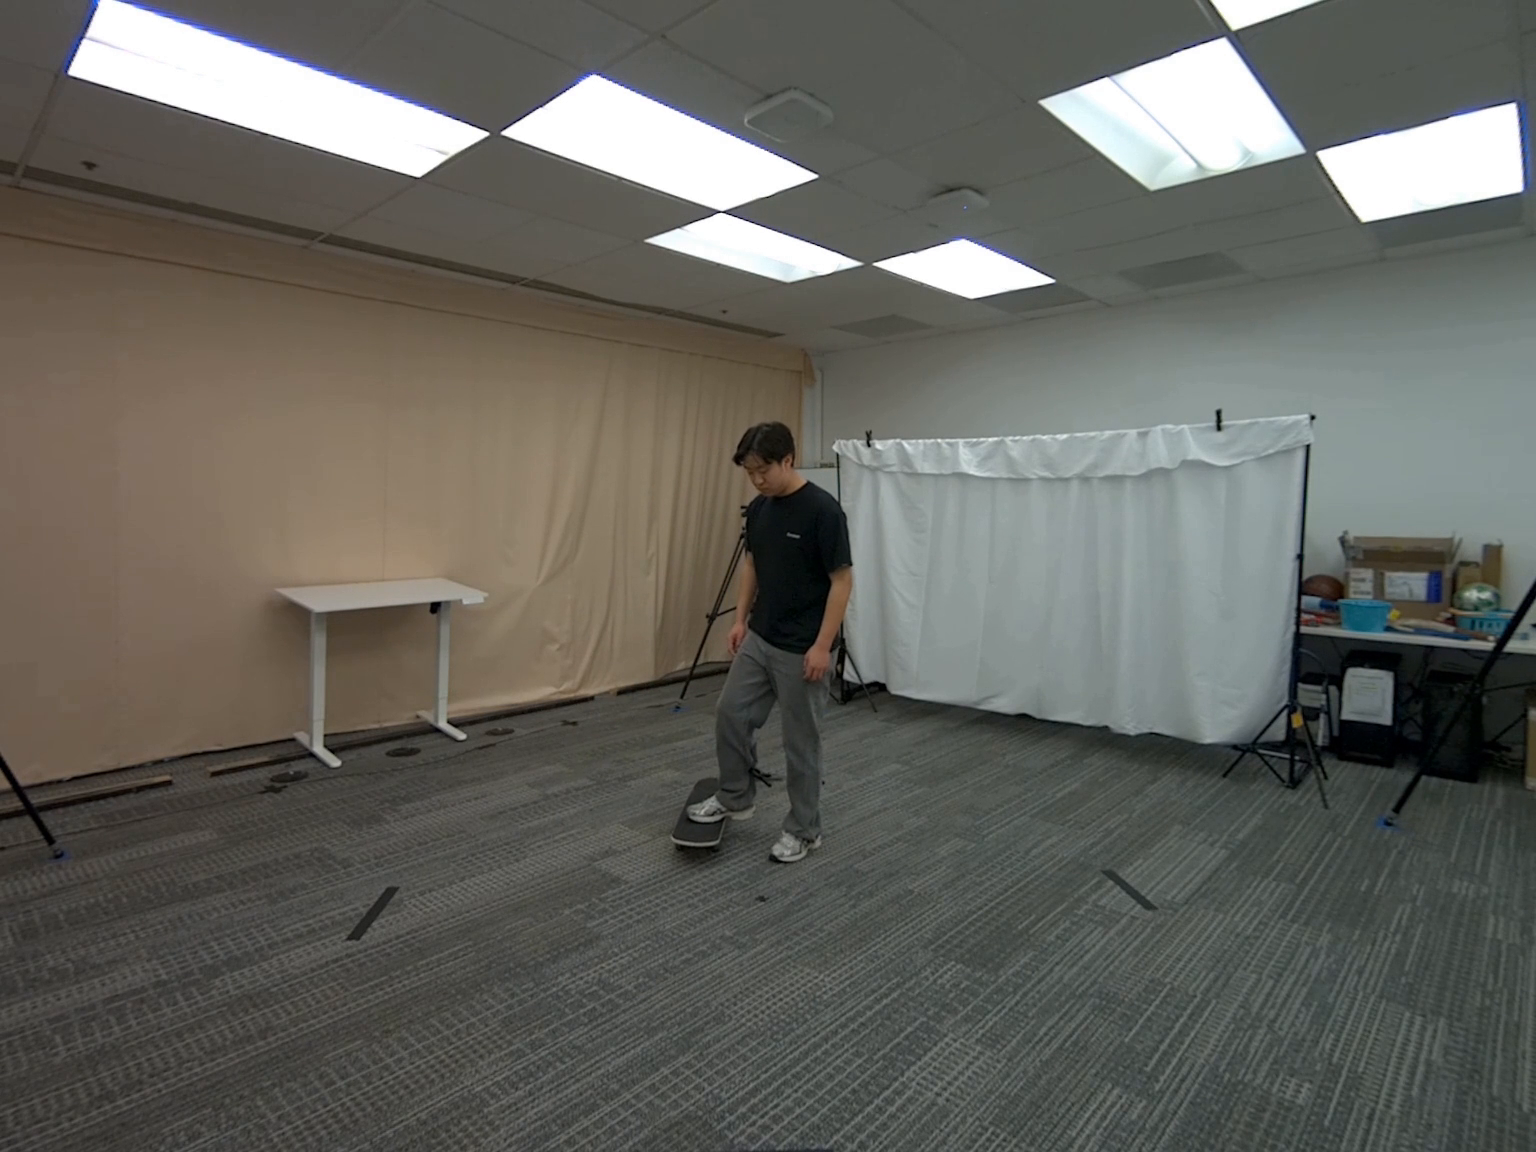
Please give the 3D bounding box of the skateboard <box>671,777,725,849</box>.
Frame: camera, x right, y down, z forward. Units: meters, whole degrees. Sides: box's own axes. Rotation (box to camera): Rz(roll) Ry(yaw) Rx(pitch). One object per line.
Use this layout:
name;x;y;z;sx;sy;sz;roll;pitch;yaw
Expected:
skateboard;-0.267;1.033;3.592;0.194;0.110;0.783;1;5;3
